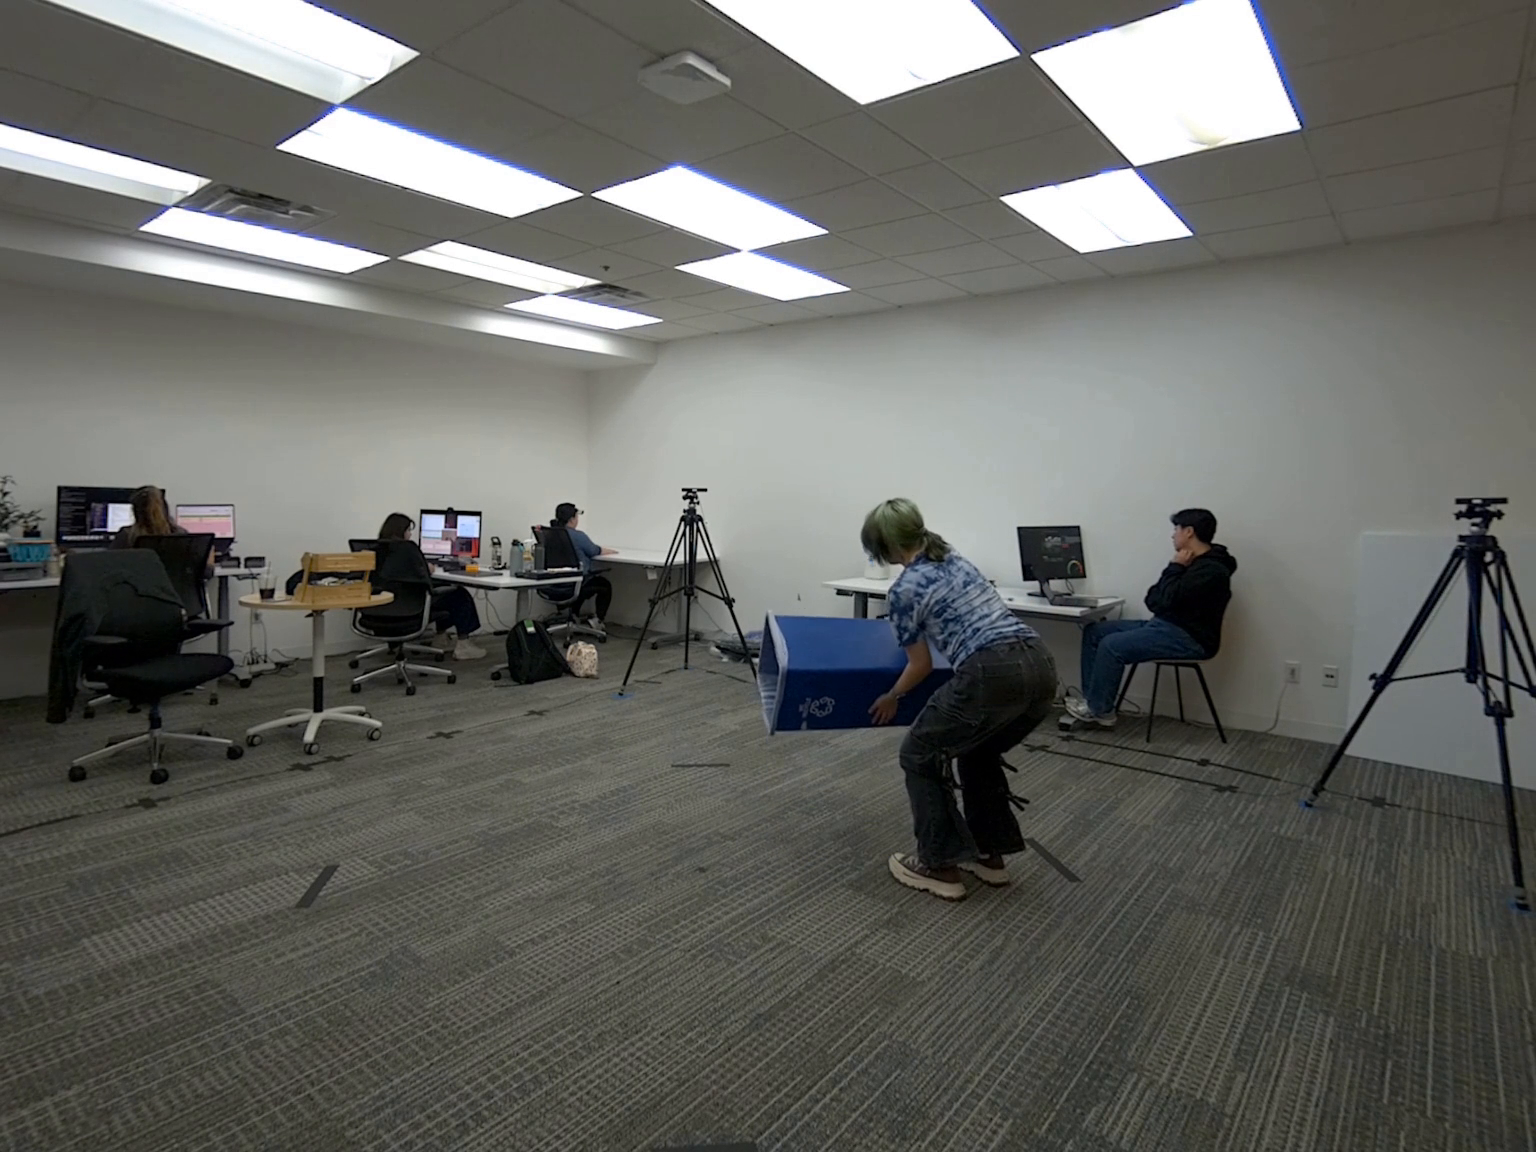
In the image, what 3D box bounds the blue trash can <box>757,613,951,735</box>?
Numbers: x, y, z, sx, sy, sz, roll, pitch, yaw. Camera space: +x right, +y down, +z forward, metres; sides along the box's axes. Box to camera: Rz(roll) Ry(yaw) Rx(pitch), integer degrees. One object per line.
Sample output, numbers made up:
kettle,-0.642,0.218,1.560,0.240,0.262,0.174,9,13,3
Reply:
blue trash can,0.334,0.381,3.427,0.708,0.365,0.390,0,35,-8
